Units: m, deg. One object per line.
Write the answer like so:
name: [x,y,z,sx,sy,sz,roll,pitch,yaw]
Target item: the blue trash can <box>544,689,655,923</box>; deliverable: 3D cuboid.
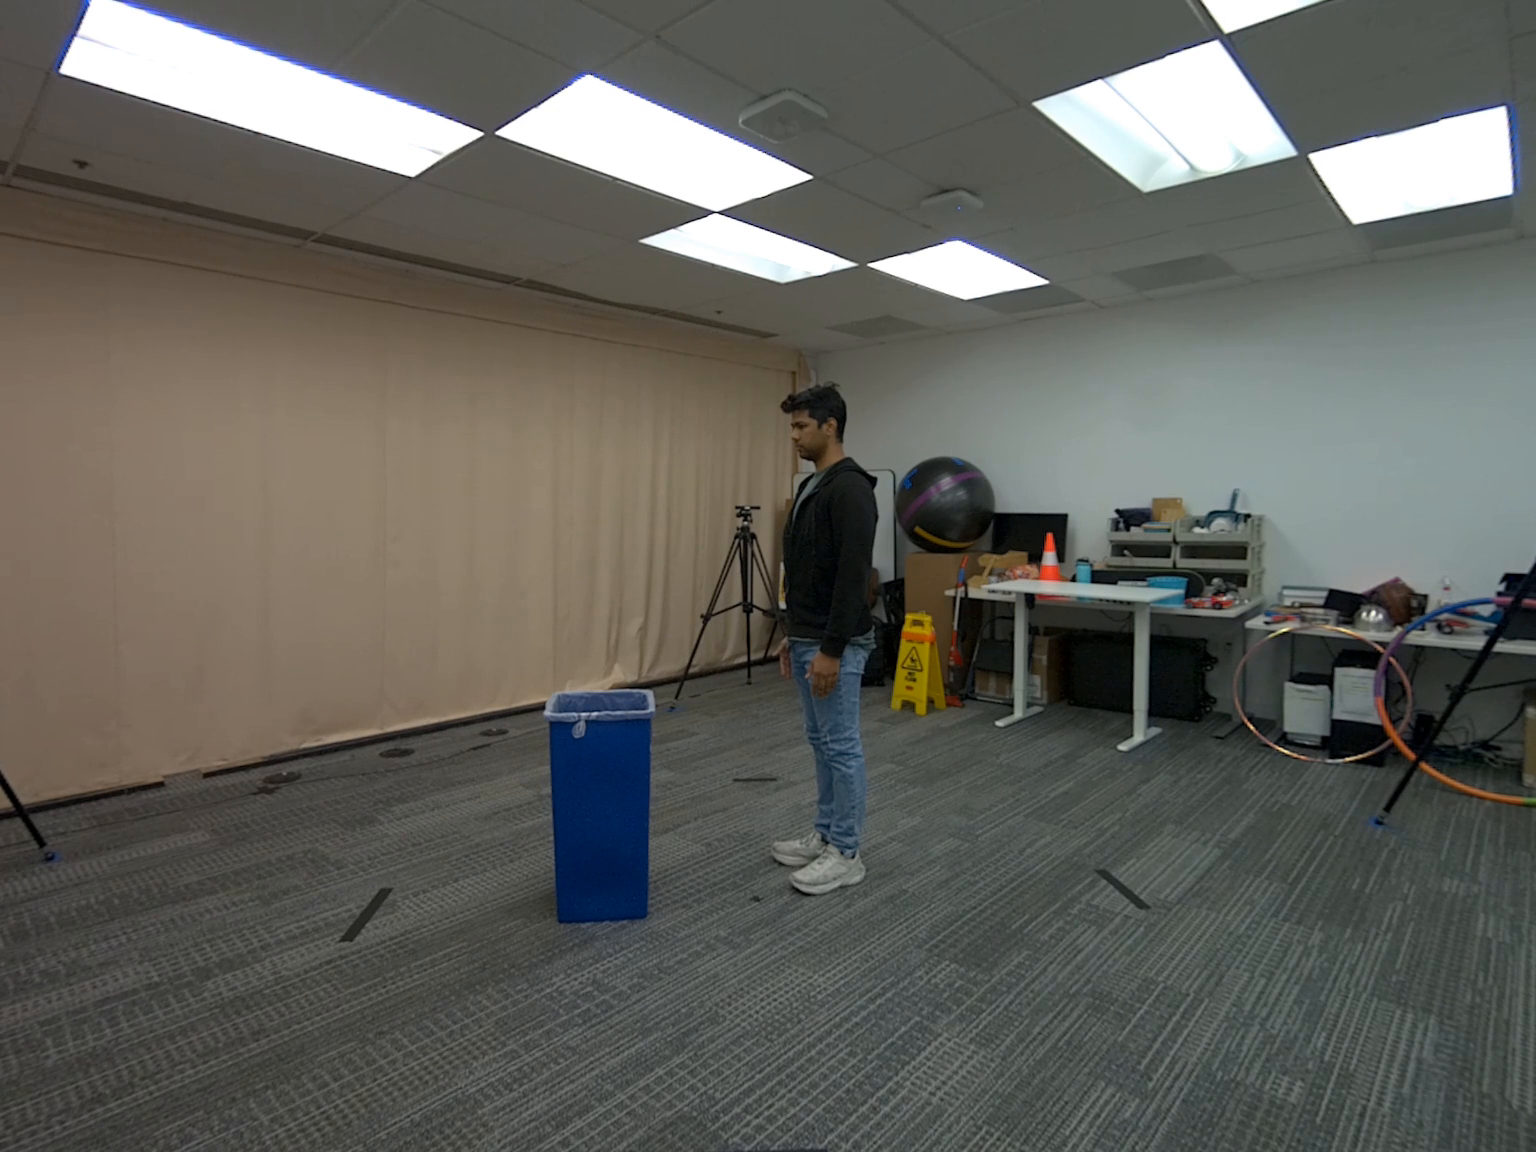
blue trash can: [-0.578,0.795,2.966,0.371,0.712,0.382,-1,3,-8]
